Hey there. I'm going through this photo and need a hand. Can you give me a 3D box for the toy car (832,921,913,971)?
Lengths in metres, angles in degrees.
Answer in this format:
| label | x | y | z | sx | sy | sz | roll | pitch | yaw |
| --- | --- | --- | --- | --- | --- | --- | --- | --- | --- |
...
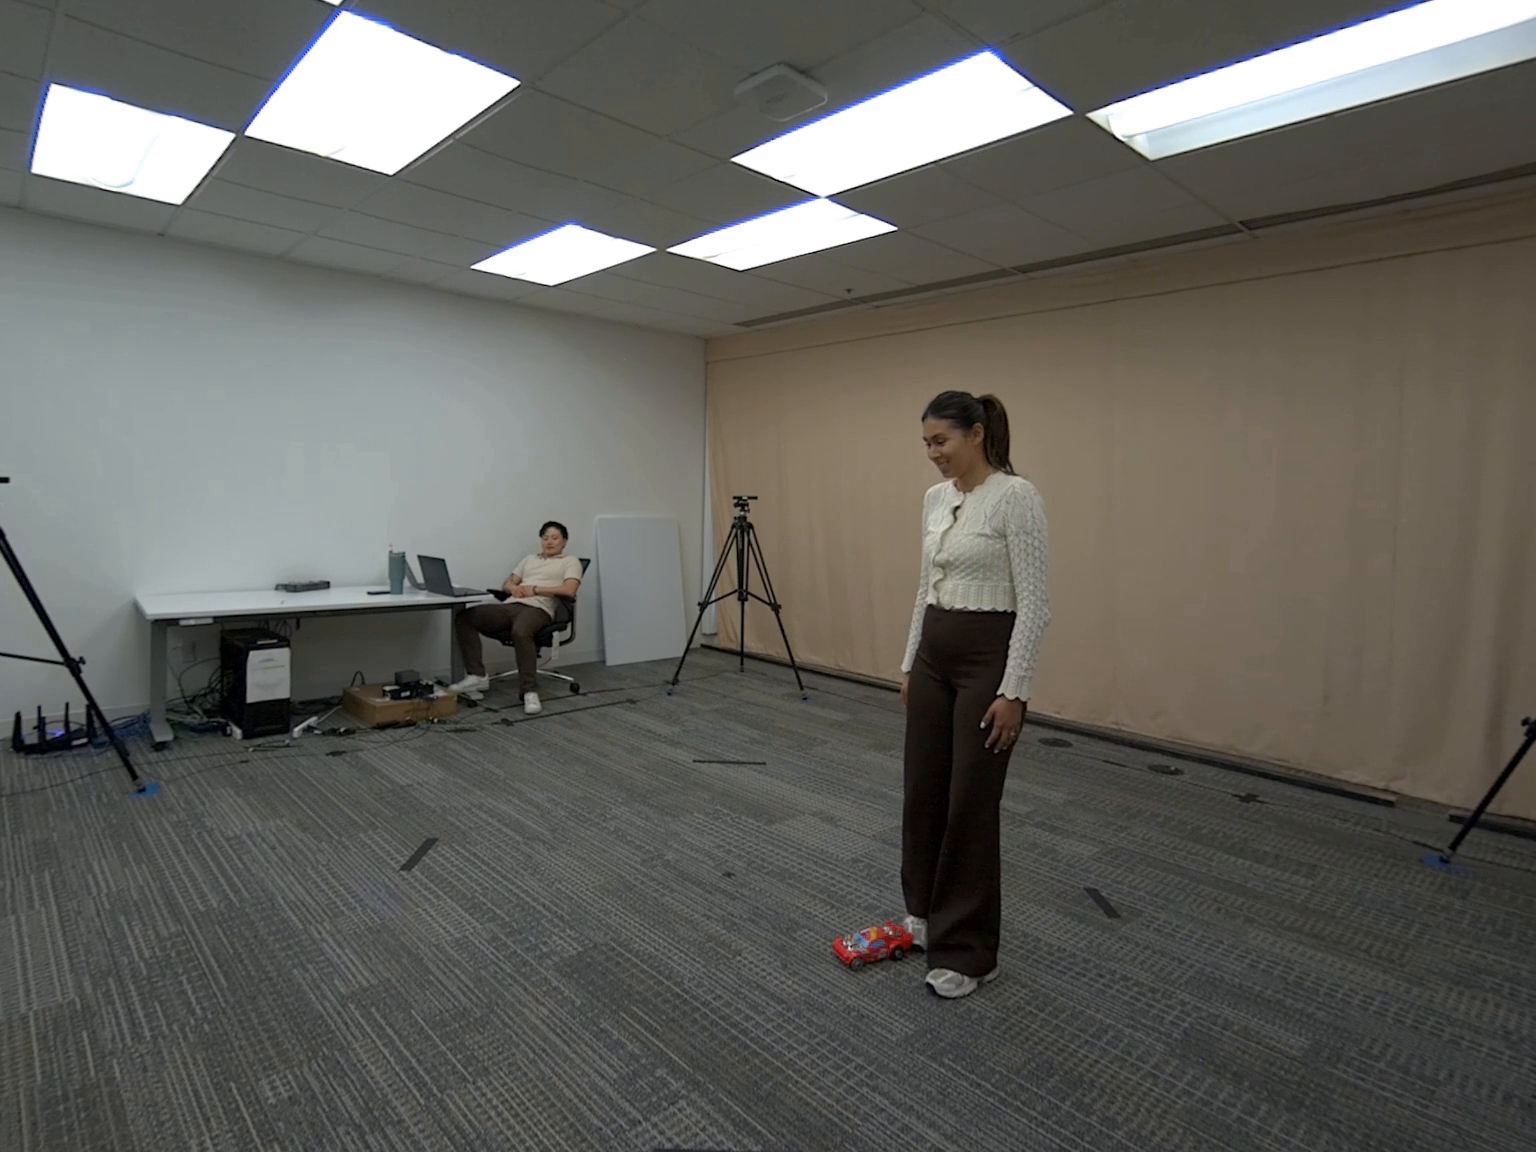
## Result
| label | x | y | z | sx | sy | sz | roll | pitch | yaw |
| --- | --- | --- | --- | --- | --- | --- | --- | --- | --- |
| toy car | 0.321 | 1.132 | 2.576 | 0.251 | 0.082 | 0.133 | -12 | 10 | -22 |
